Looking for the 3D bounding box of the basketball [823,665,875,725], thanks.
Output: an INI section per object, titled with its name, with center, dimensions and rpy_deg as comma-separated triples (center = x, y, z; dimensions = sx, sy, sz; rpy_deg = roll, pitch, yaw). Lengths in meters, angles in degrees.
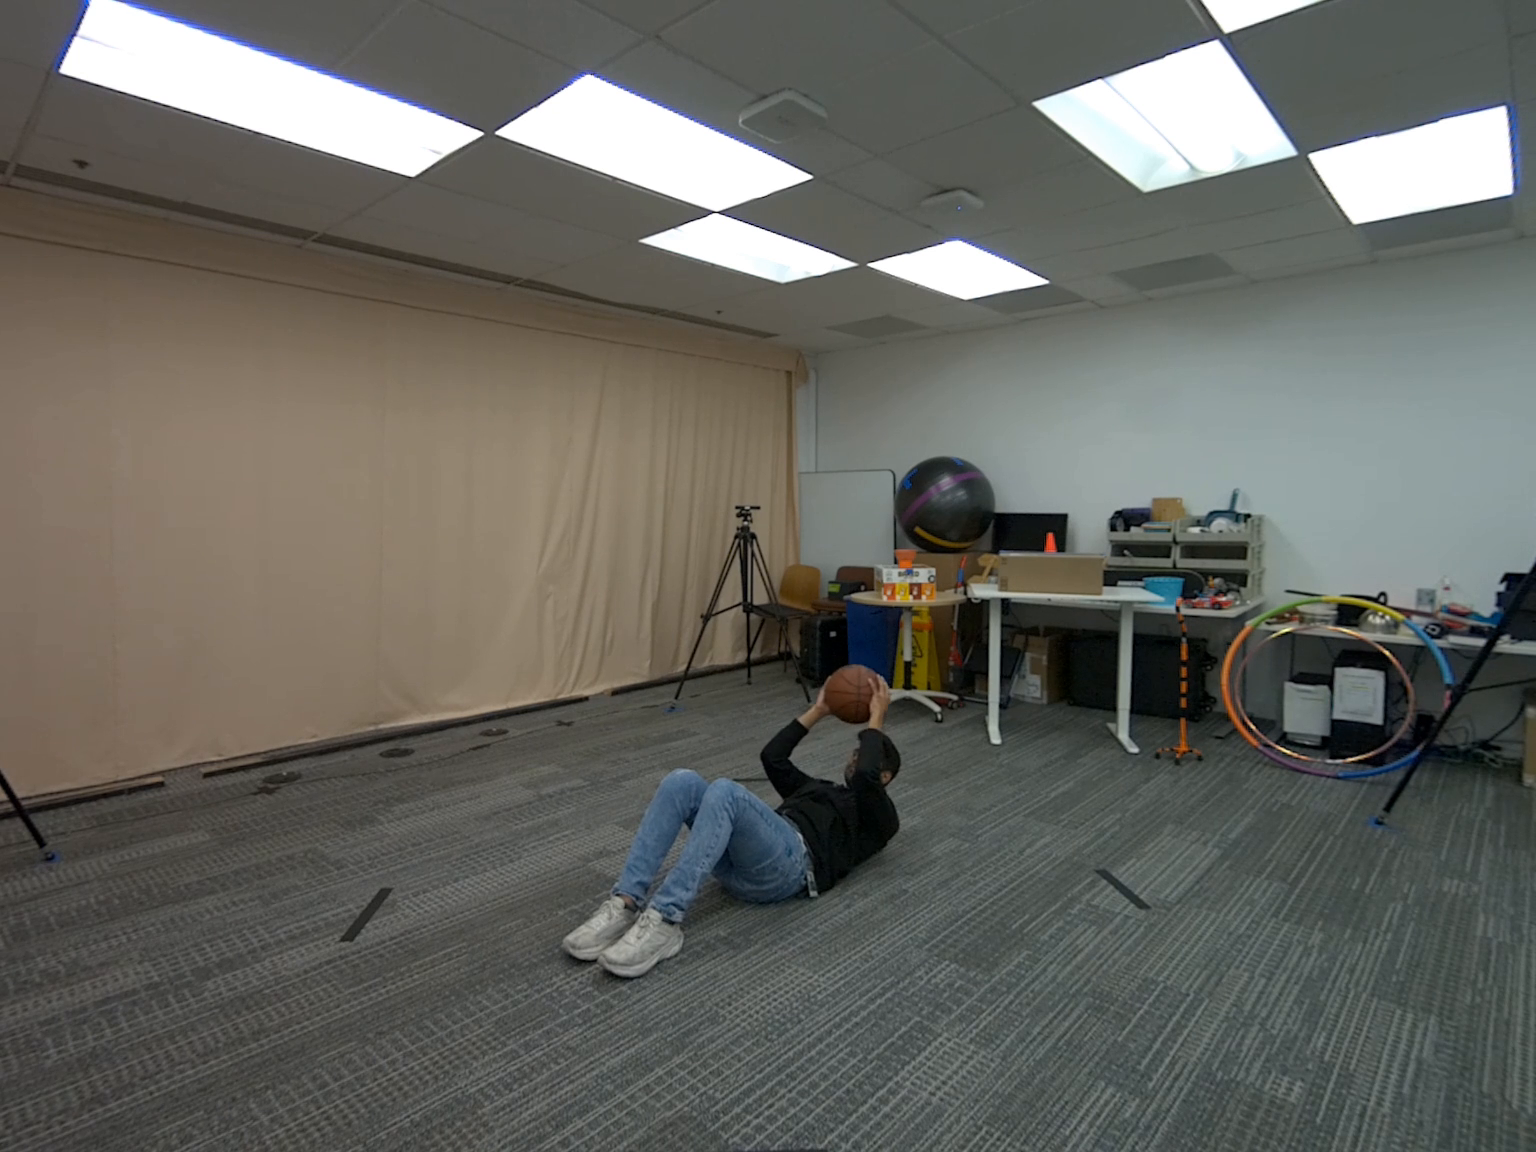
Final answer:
[basketball]
center = 0.343, 0.490, 3.416
dimensions = 0.236, 0.235, 0.237
rpy_deg = 0, 4, -2
